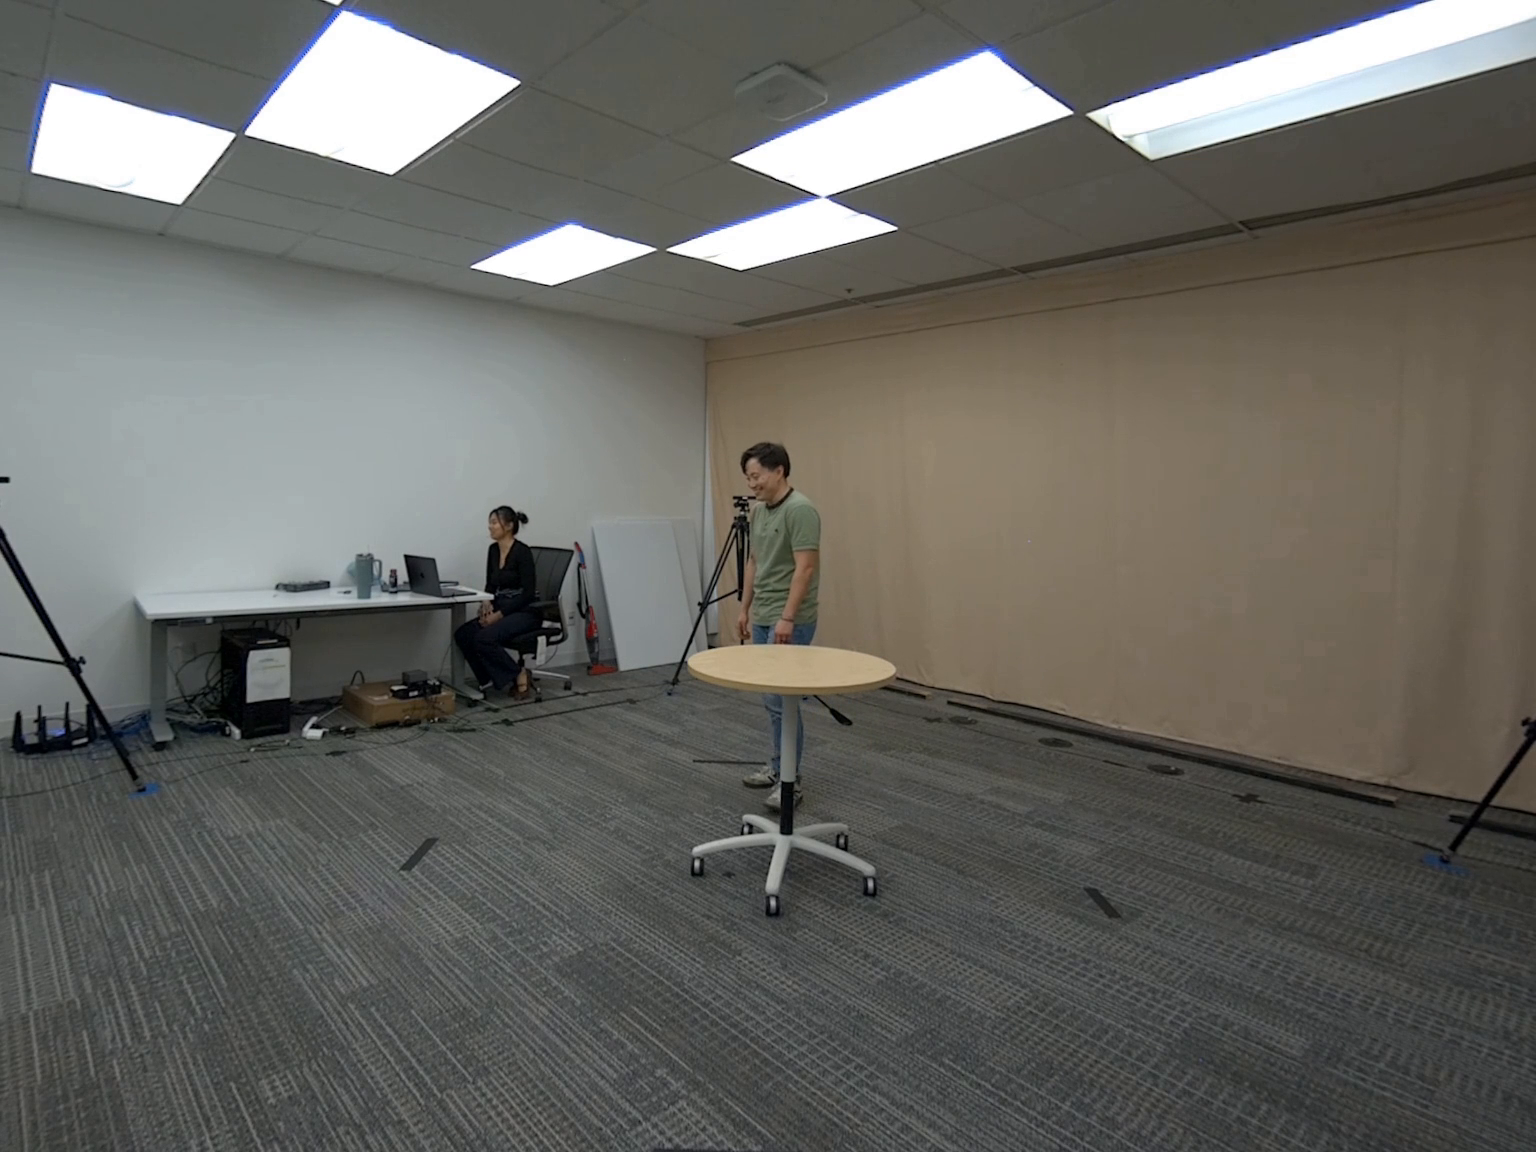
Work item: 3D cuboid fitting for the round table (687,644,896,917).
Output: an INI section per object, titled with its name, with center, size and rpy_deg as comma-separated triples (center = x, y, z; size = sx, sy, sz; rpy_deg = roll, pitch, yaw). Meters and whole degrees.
[round table]
center = 0.065, 0.716, 3.133
size = 0.763, 0.792, 0.766
rpy_deg = 1, 4, -1
